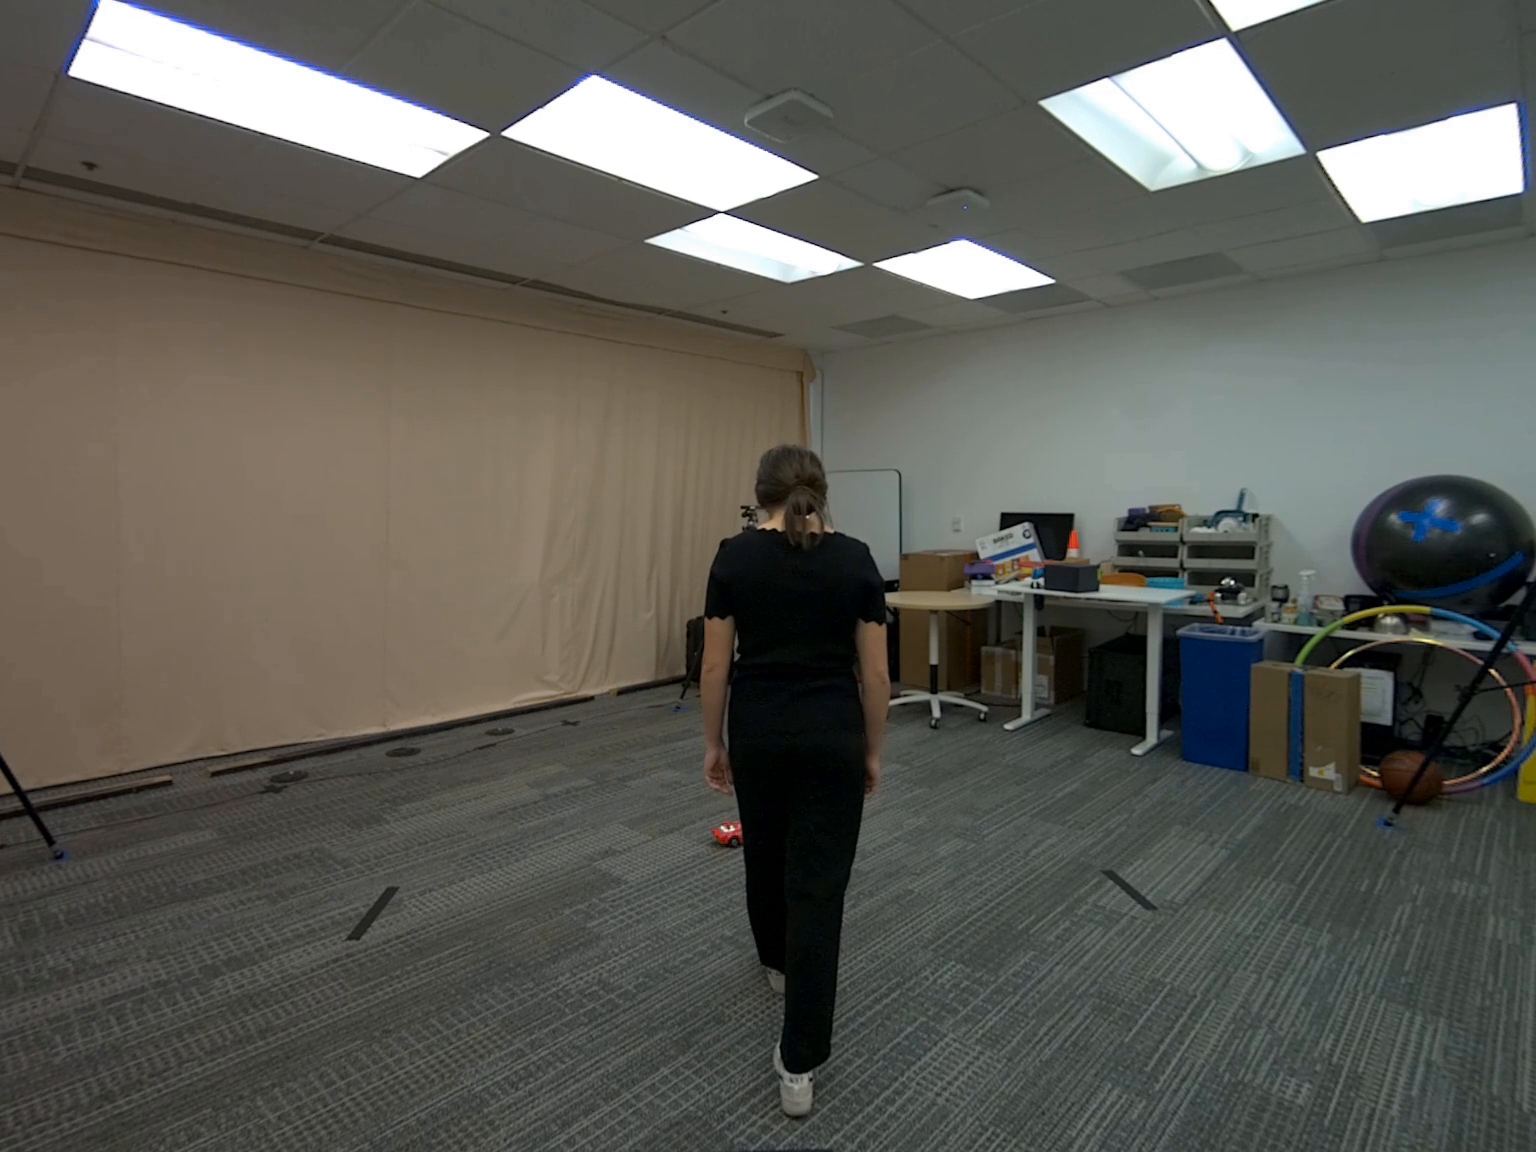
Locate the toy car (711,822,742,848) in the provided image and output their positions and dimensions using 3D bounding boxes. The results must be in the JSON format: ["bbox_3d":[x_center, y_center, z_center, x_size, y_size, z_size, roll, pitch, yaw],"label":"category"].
[{"bbox_3d":[-0.116,1.068,3.493,0.249,0.083,0.133,11,-1,-20],"label":"toy car"}]
